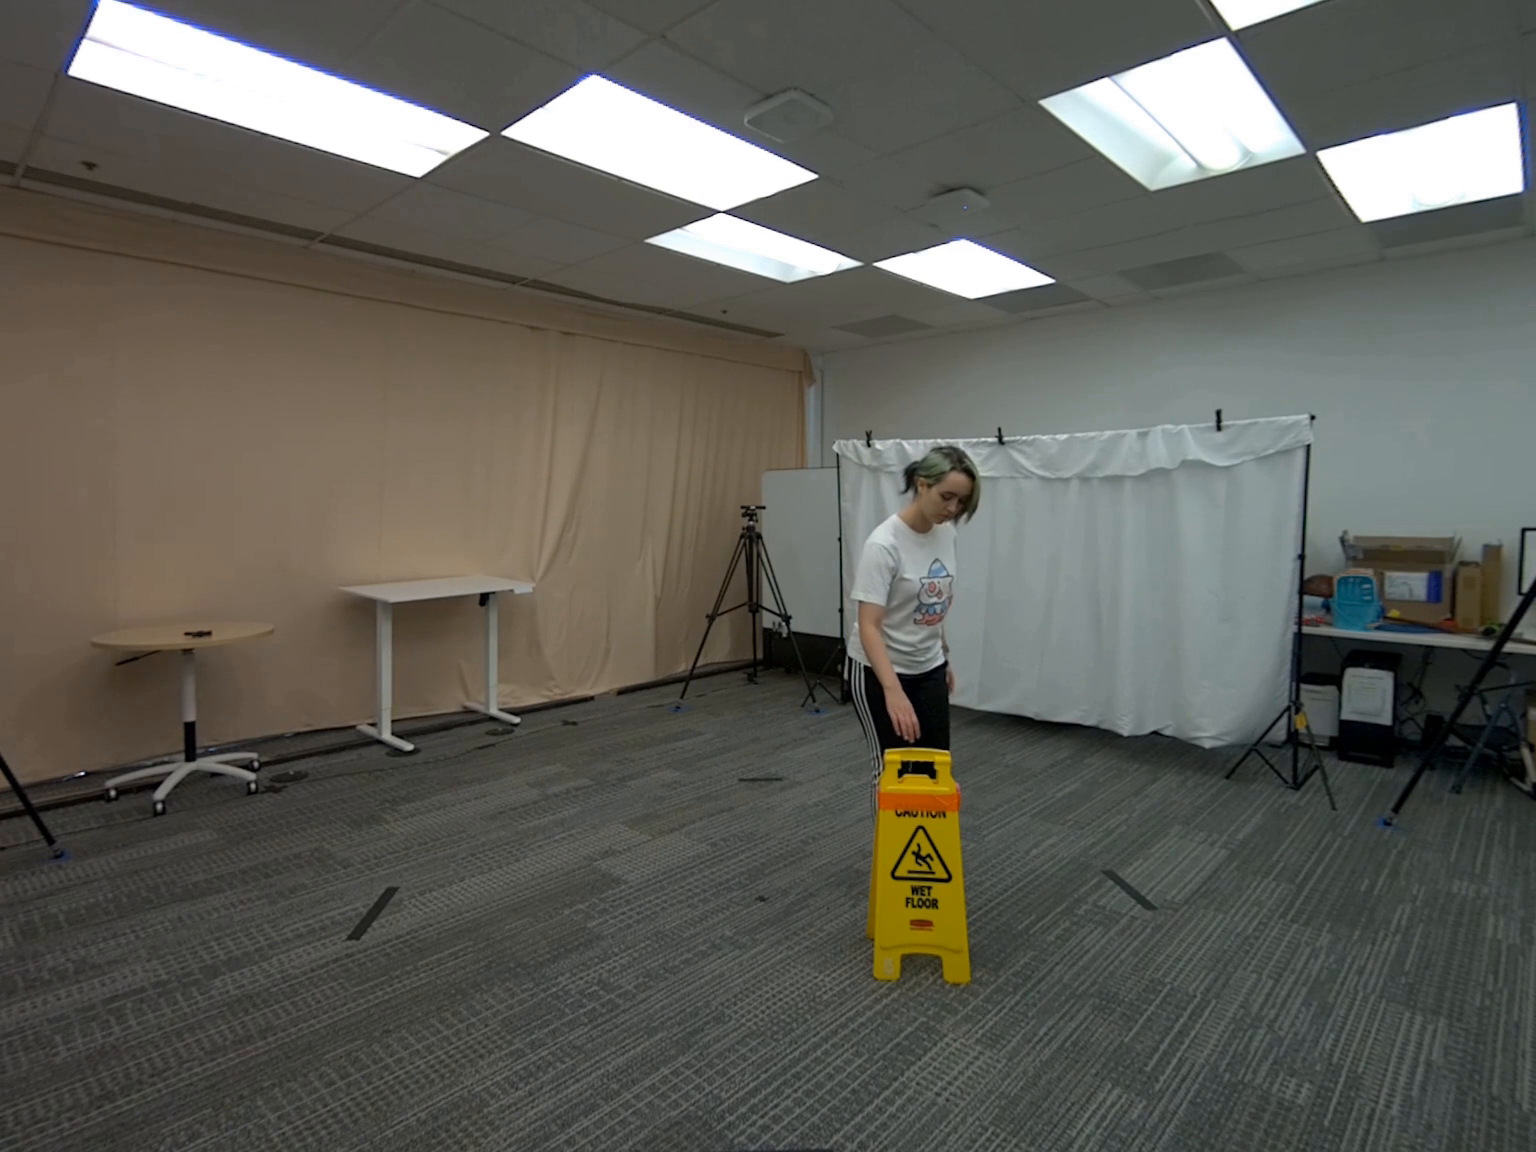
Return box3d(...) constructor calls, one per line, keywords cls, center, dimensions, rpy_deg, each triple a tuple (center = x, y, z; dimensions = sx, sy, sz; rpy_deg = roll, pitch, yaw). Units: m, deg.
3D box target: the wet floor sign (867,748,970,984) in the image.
box3d(cls="wet floor sign", center=(0.468, 0.857, 2.567), dimensions=(0.283, 0.644, 0.289), rpy_deg=(2, 4, 3))
